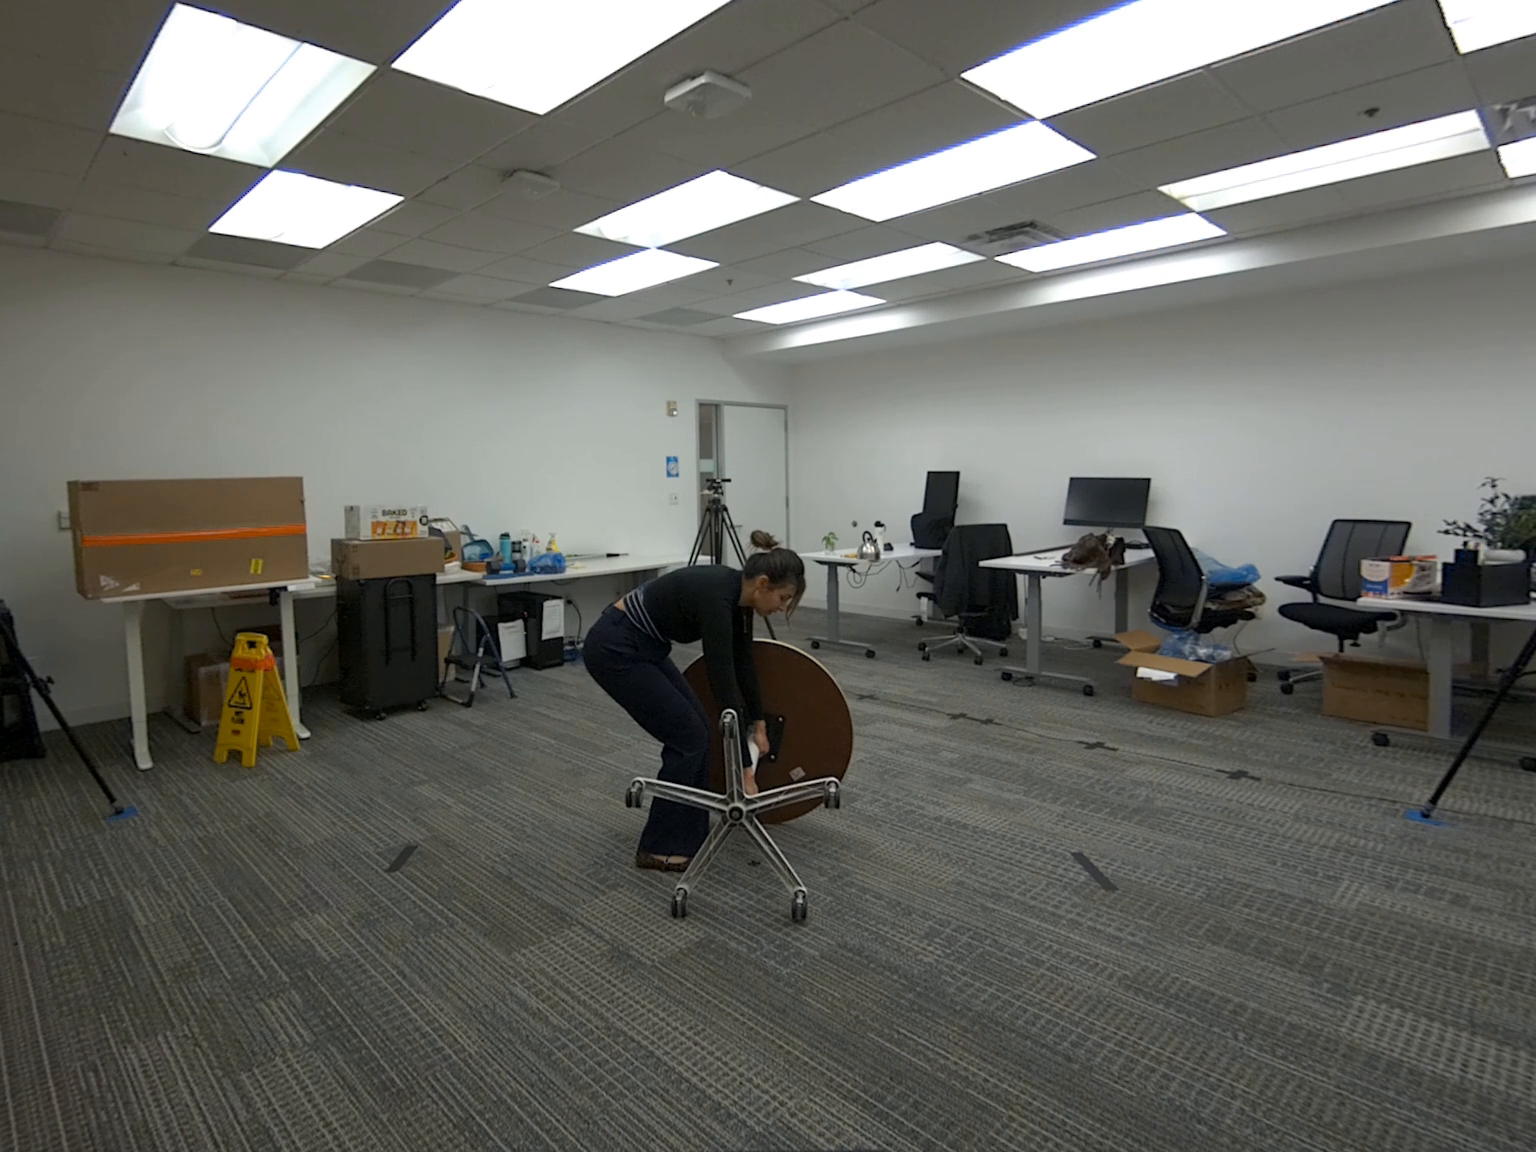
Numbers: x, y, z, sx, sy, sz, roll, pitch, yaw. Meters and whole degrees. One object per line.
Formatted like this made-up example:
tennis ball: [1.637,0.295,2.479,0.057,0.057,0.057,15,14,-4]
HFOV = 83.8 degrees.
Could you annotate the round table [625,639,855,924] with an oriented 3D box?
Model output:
round table: [-0.082,0.711,3.038,0.769,0.757,0.796,-1,10,5]
